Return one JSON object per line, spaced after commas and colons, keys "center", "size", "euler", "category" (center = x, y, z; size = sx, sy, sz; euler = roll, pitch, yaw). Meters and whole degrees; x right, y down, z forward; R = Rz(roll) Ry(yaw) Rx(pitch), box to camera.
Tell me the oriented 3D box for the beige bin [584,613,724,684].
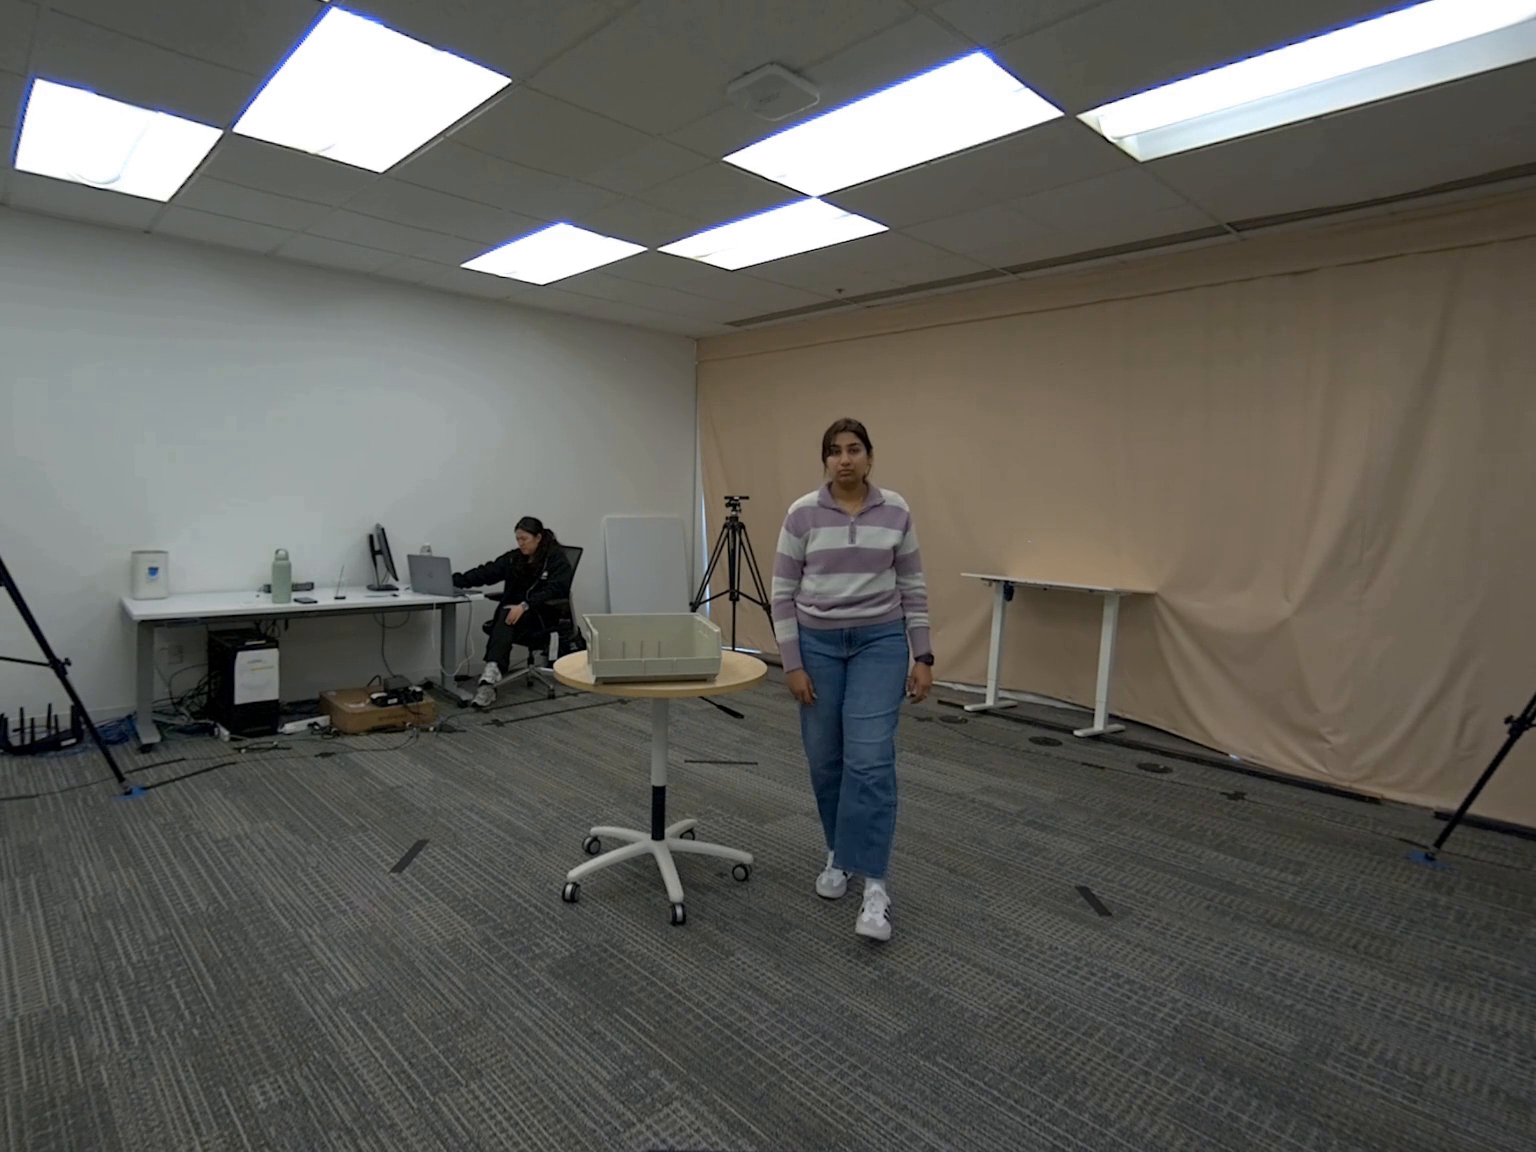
{"center": [-0.404, 0.249, 2.869], "size": [0.417, 0.188, 0.383], "euler": [-1, 5, -16], "category": "beige bin"}
